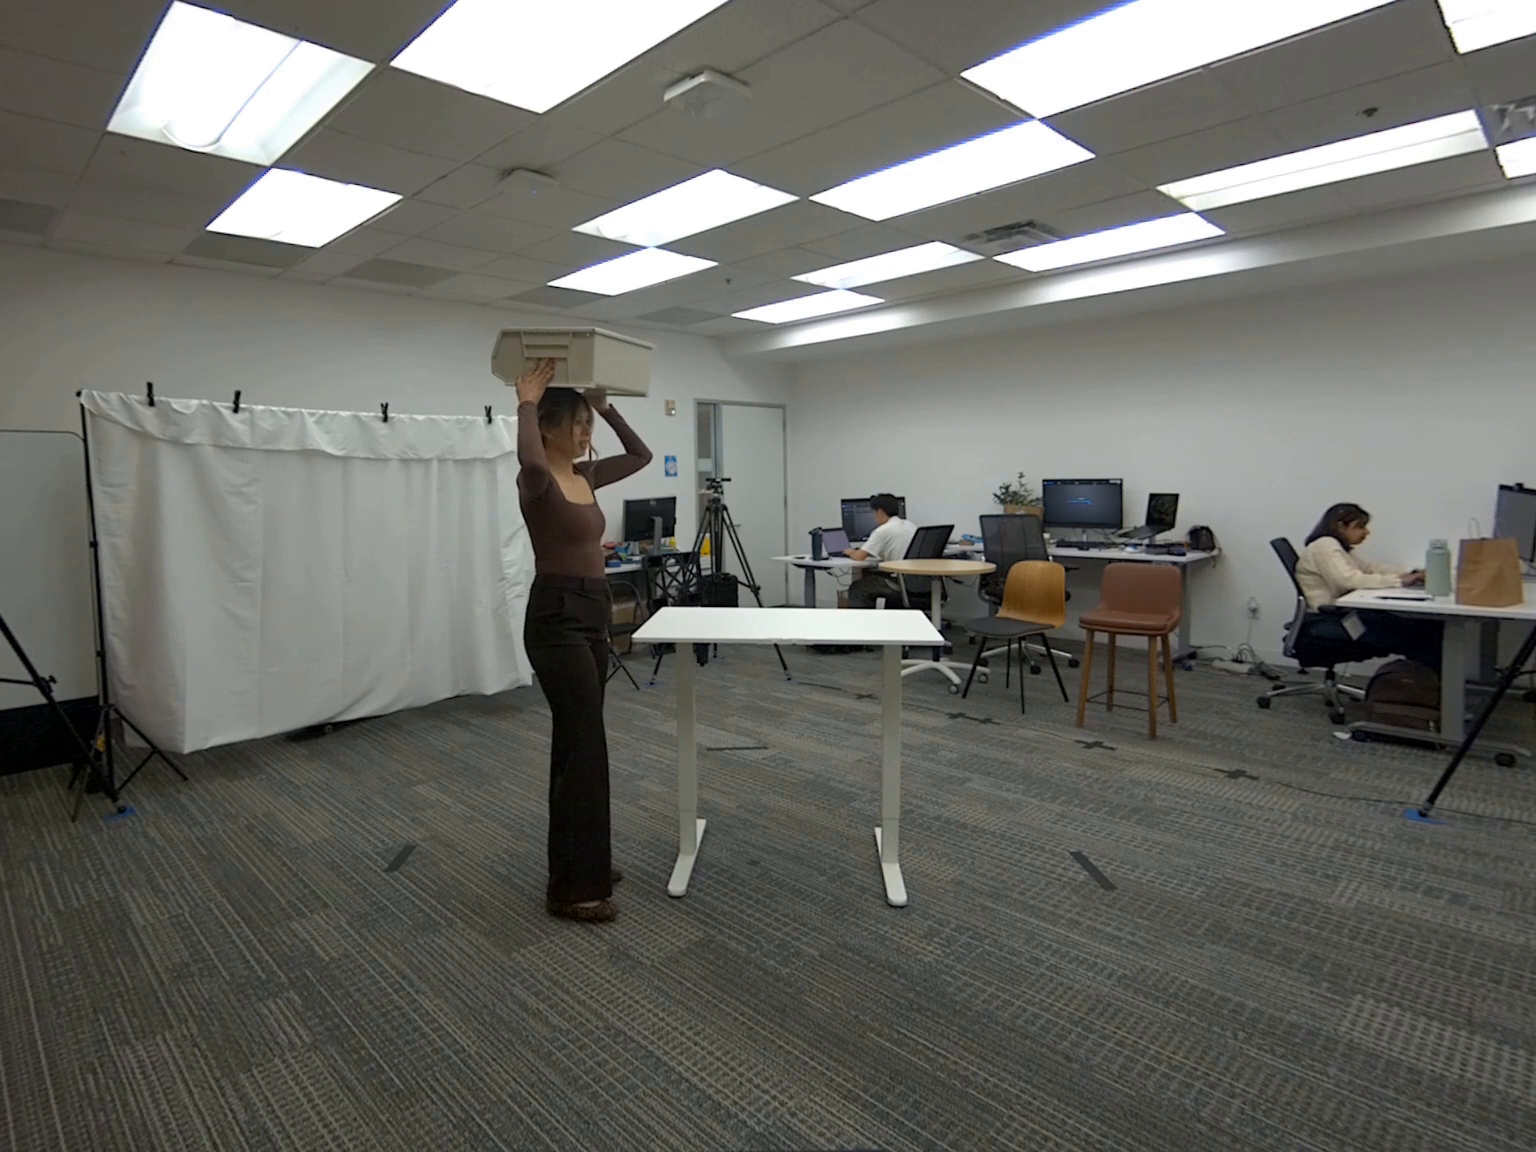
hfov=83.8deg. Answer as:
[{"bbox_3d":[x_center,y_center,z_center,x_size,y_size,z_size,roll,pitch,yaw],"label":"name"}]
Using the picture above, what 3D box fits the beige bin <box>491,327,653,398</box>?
[{"bbox_3d":[-0.641,-0.705,2.832,0.385,0.188,0.416,7,9,18],"label":"beige bin"}]
